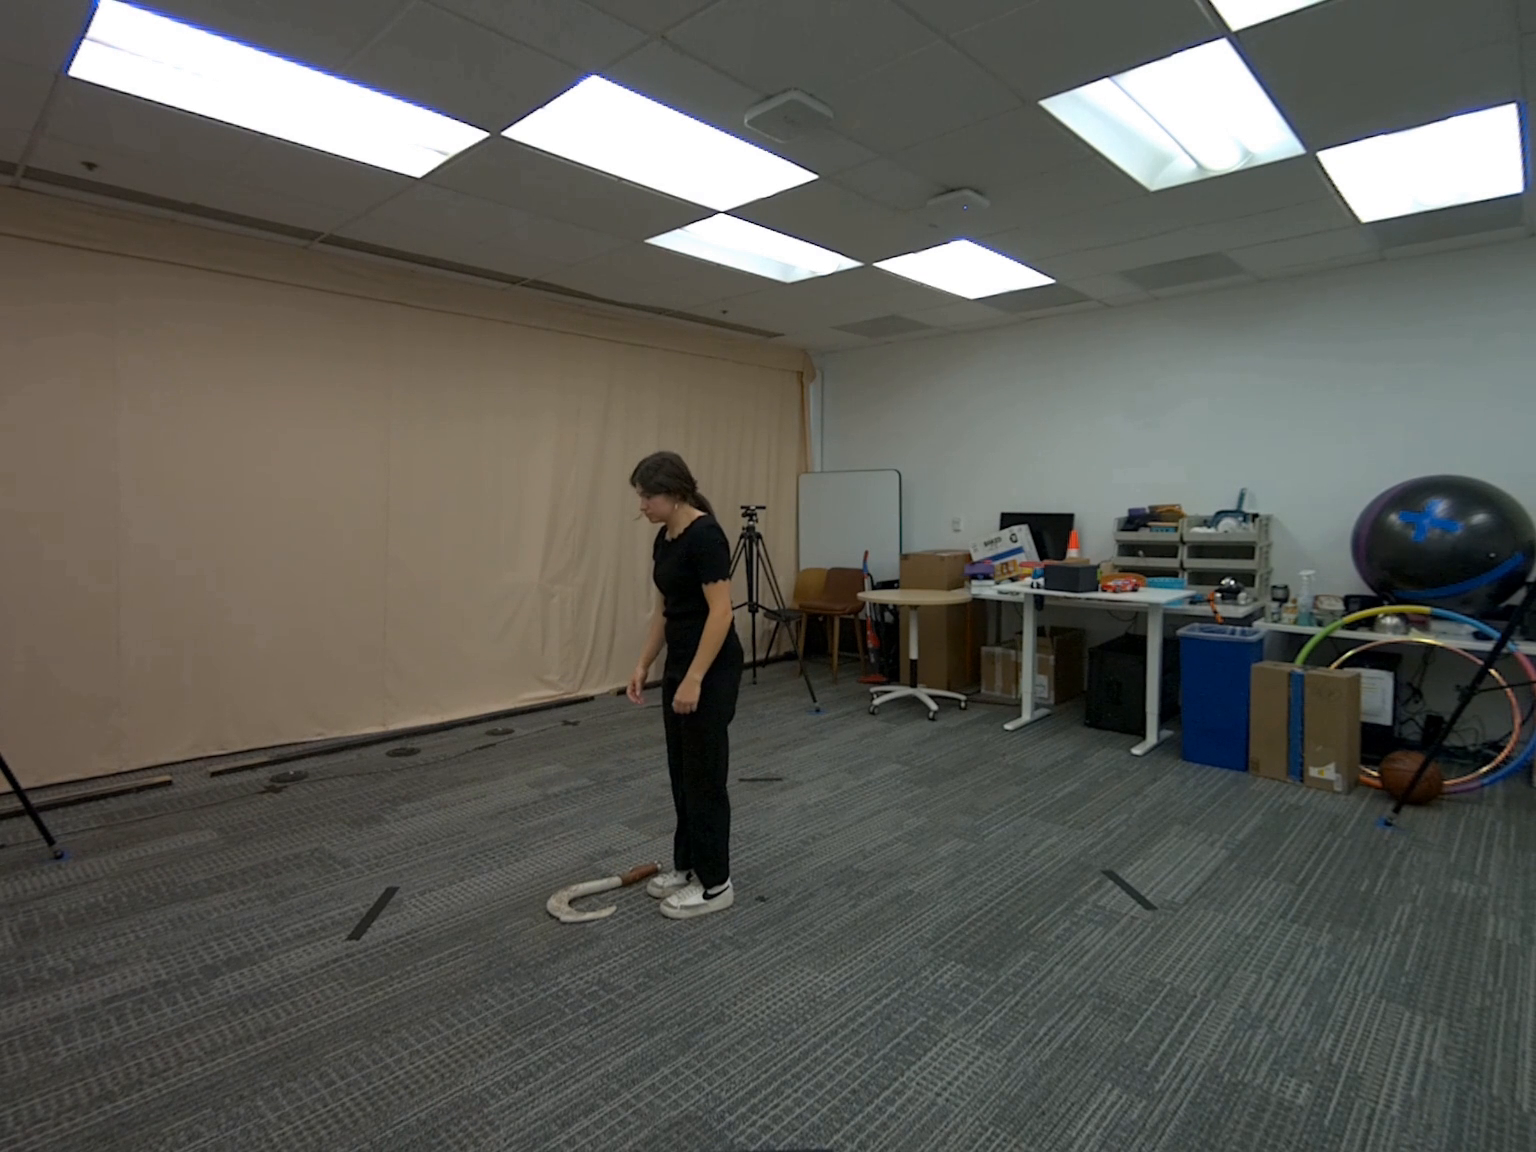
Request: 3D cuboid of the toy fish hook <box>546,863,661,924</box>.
[{"bbox_3d":[-0.547,1.134,3.013,0.491,0.048,0.233,-5,15,-44],"label":"toy fish hook"}]
